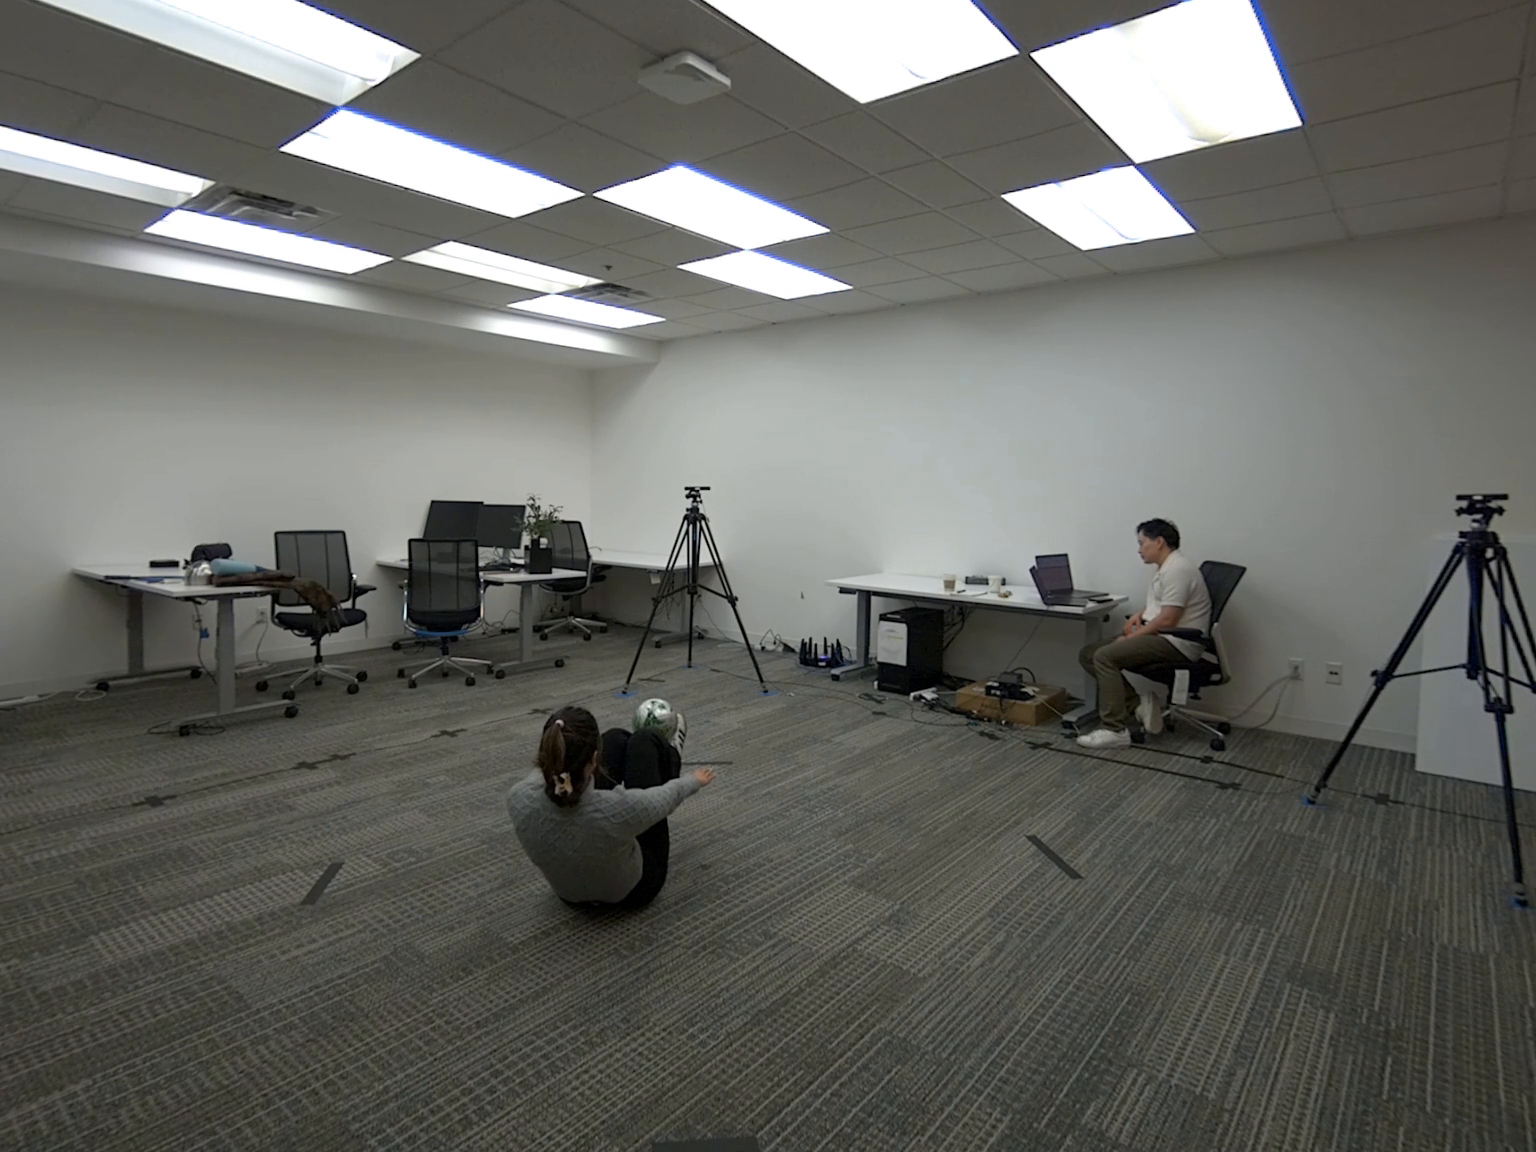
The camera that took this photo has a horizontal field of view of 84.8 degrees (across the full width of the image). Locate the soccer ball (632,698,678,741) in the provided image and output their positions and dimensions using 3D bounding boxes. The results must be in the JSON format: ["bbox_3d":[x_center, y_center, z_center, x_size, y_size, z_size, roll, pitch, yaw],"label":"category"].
[{"bbox_3d":[-0.465,0.586,3.414,0.187,0.187,0.188,0,4,-2],"label":"soccer ball"}]
